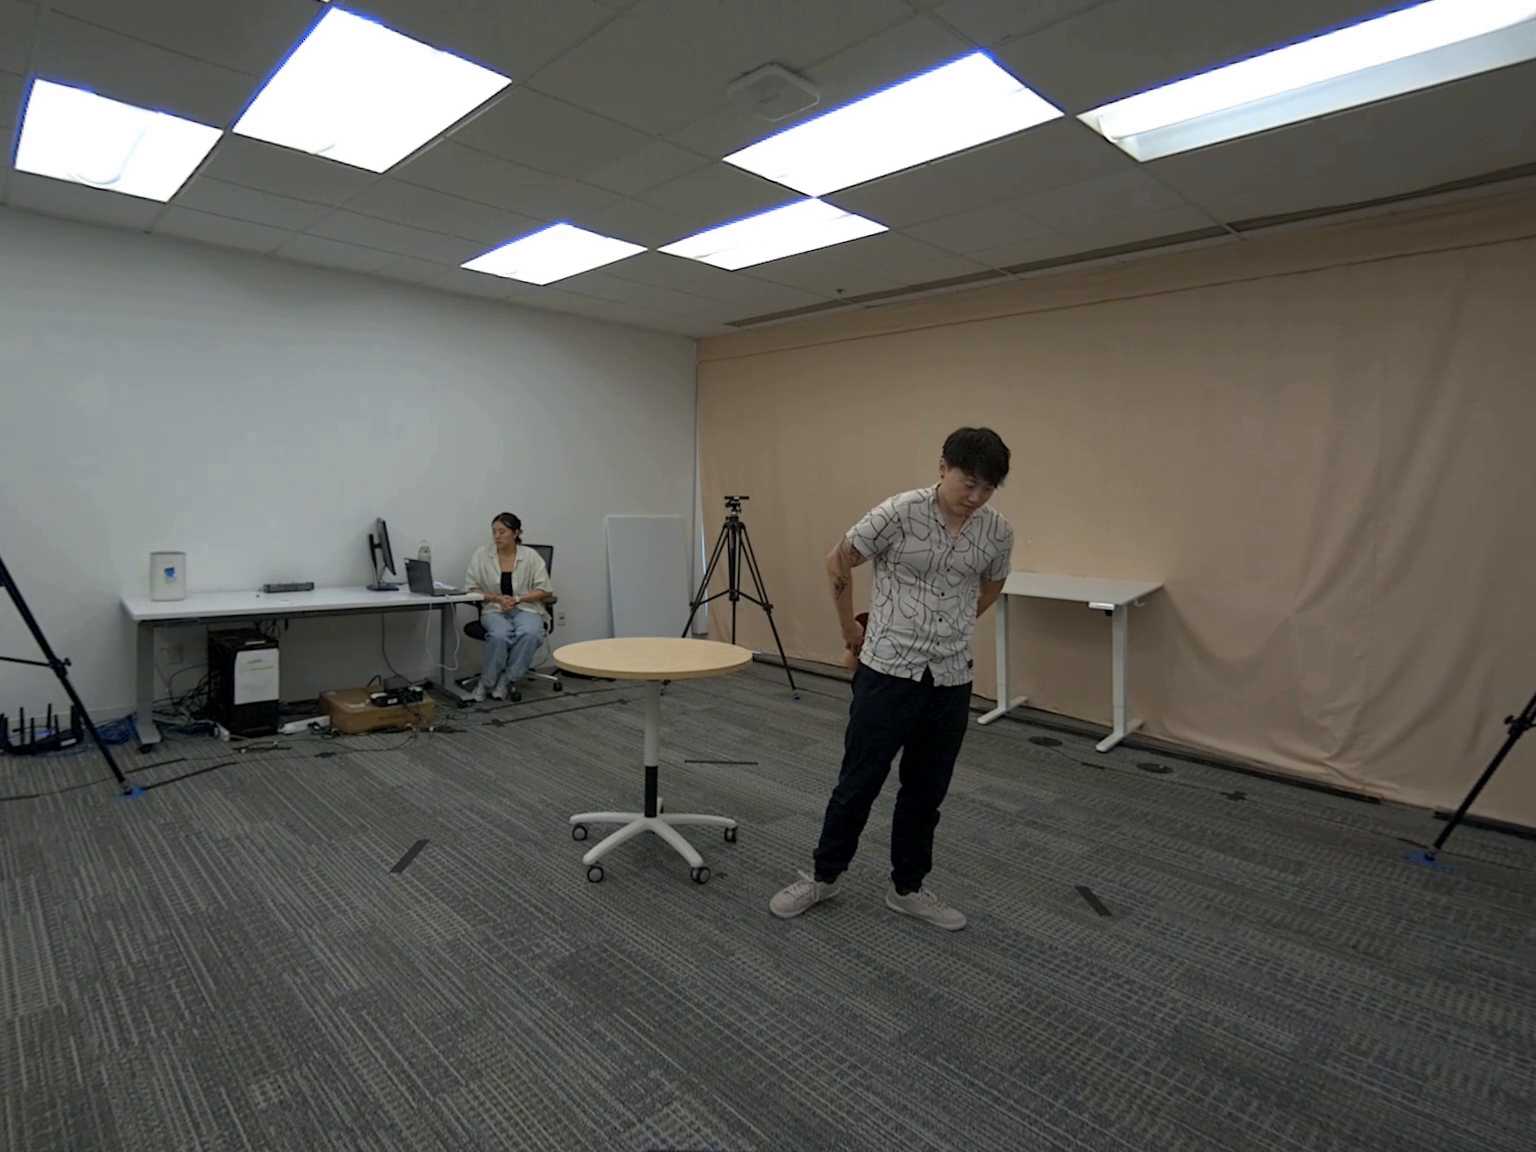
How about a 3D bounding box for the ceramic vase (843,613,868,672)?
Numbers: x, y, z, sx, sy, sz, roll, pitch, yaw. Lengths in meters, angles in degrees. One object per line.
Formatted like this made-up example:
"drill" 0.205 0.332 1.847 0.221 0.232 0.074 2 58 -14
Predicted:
"ceramic vase" 0.347 0.252 3.083 0.136 0.216 0.160 22 47 7
